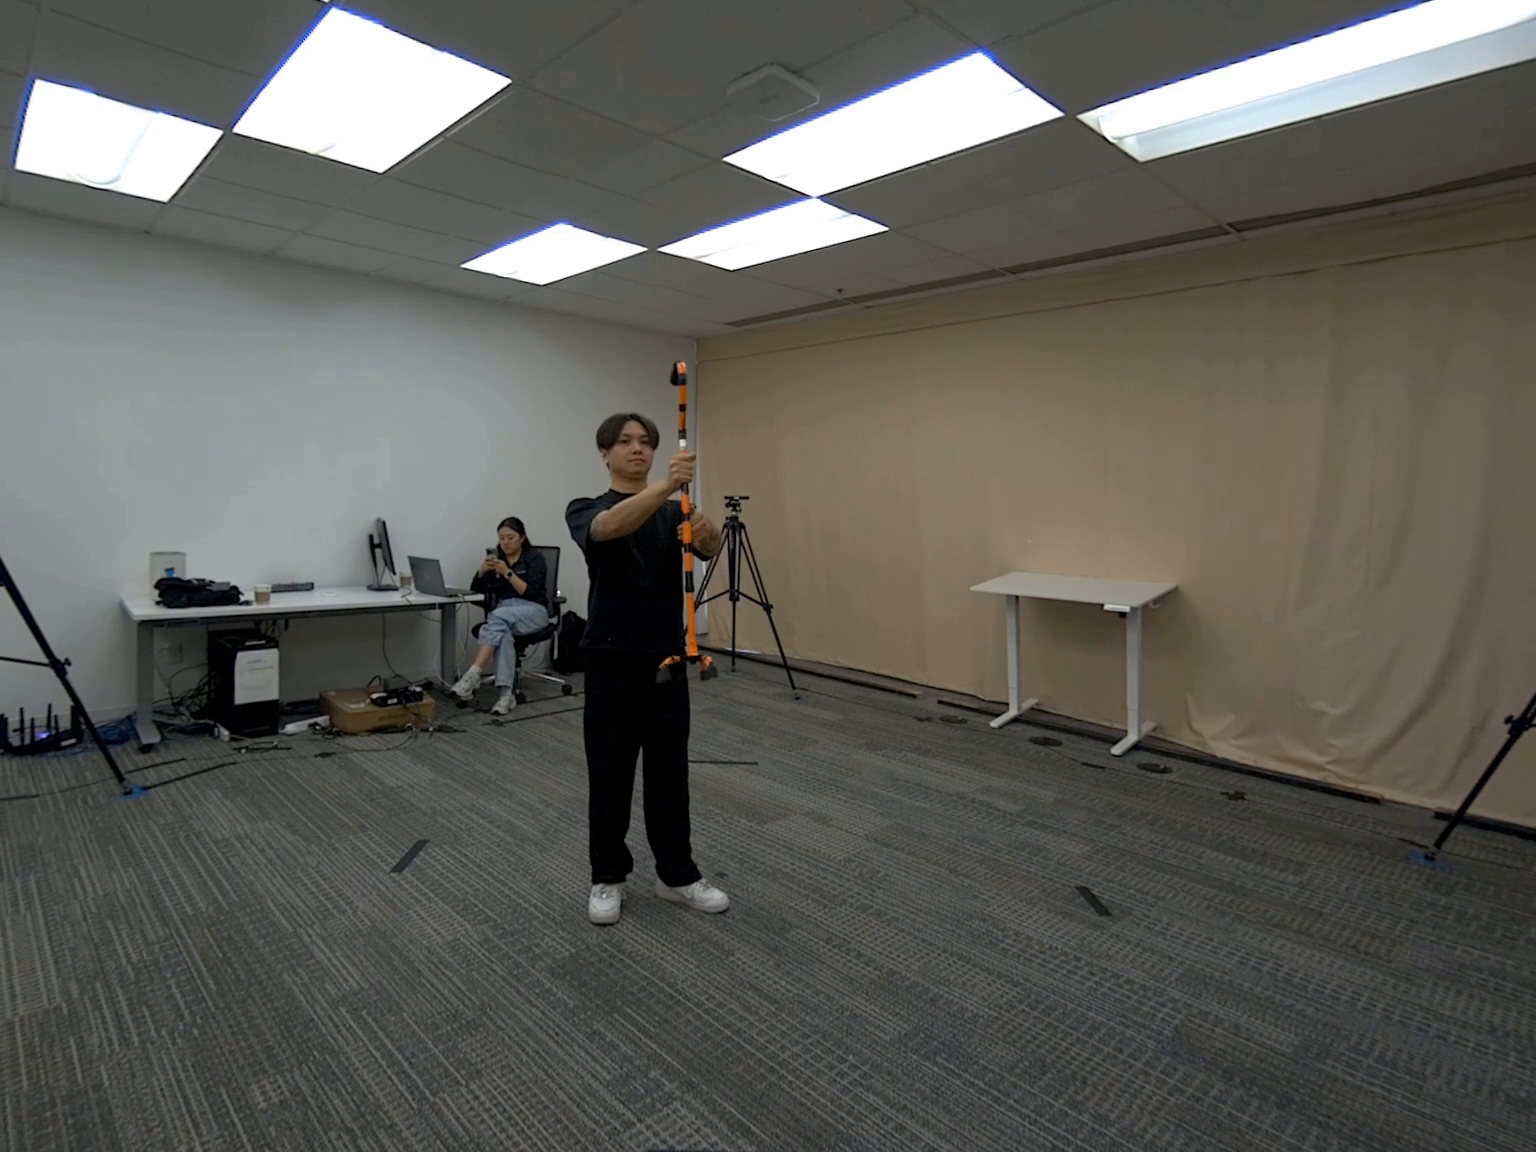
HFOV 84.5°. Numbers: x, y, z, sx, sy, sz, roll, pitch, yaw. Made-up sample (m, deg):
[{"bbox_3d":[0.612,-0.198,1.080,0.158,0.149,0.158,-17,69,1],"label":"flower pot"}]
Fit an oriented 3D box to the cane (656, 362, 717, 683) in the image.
[{"bbox_3d":[-0.247,-0.170,2.344,0.151,0.915,0.206,-2,-10,-8],"label":"cane"}]
